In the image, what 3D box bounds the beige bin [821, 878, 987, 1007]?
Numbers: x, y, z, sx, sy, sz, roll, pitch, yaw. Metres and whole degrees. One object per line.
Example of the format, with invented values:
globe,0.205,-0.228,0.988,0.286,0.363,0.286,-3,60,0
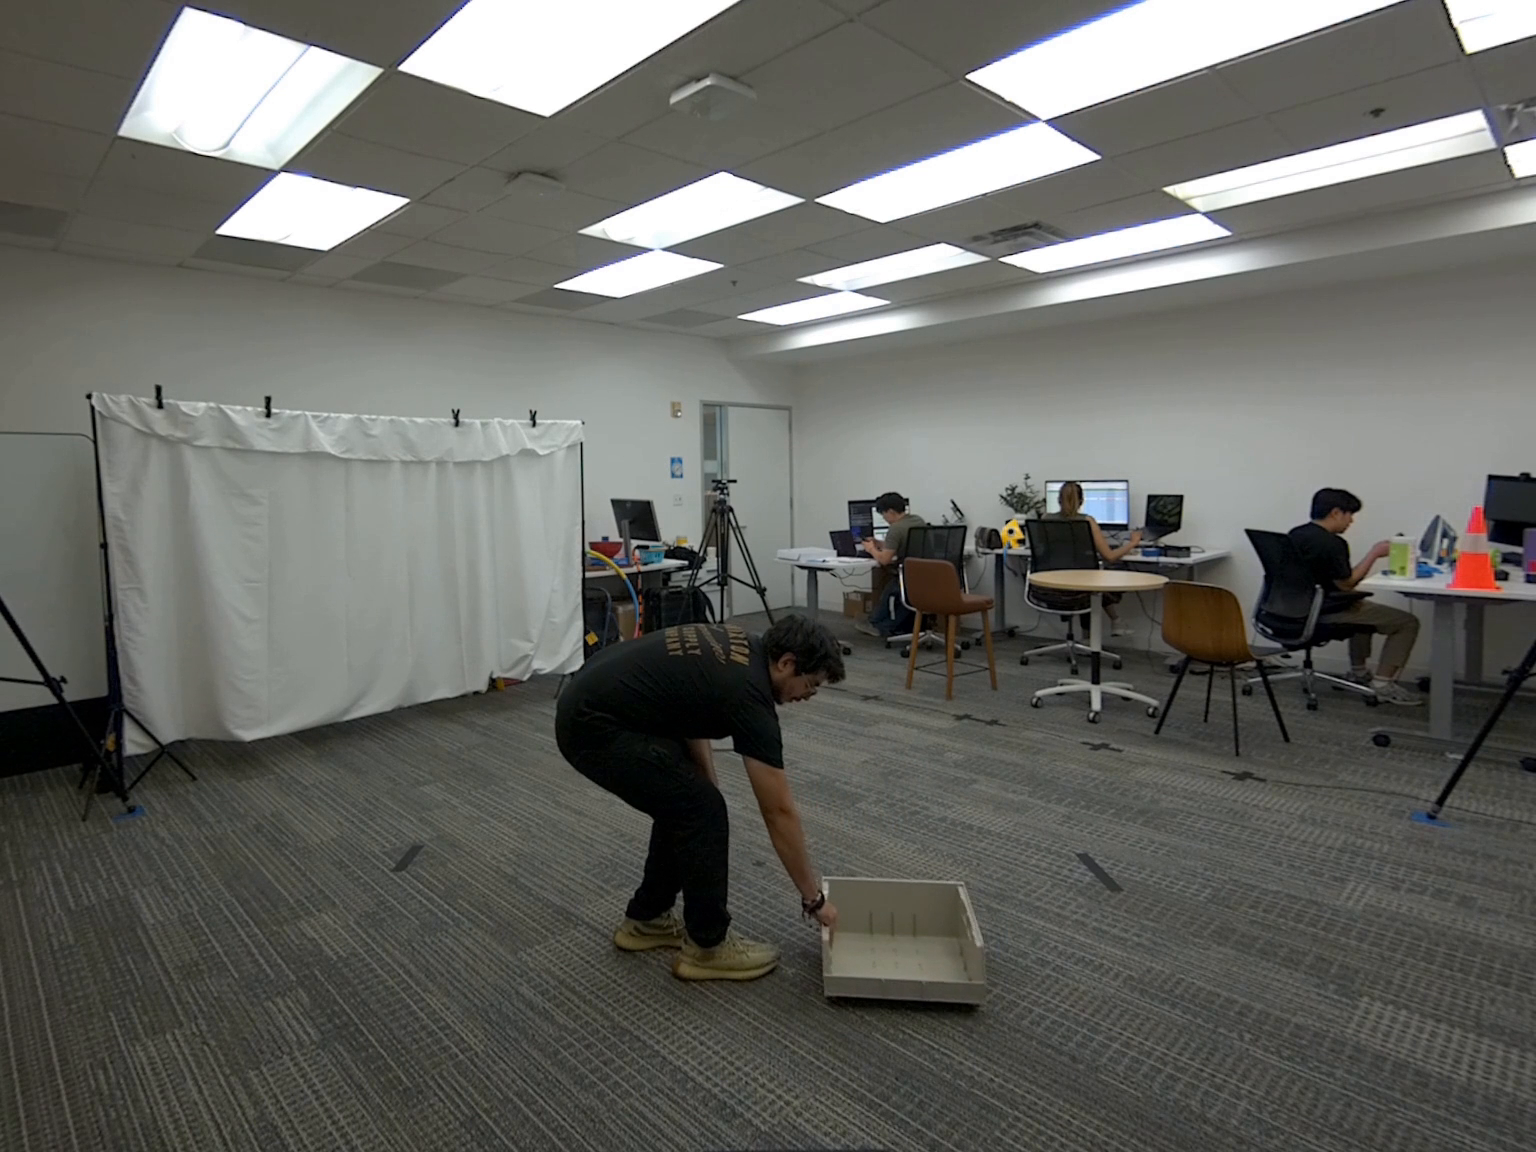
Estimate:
beige bin,0.364,1.026,2.402,0.425,0.188,0.376,-2,4,6
